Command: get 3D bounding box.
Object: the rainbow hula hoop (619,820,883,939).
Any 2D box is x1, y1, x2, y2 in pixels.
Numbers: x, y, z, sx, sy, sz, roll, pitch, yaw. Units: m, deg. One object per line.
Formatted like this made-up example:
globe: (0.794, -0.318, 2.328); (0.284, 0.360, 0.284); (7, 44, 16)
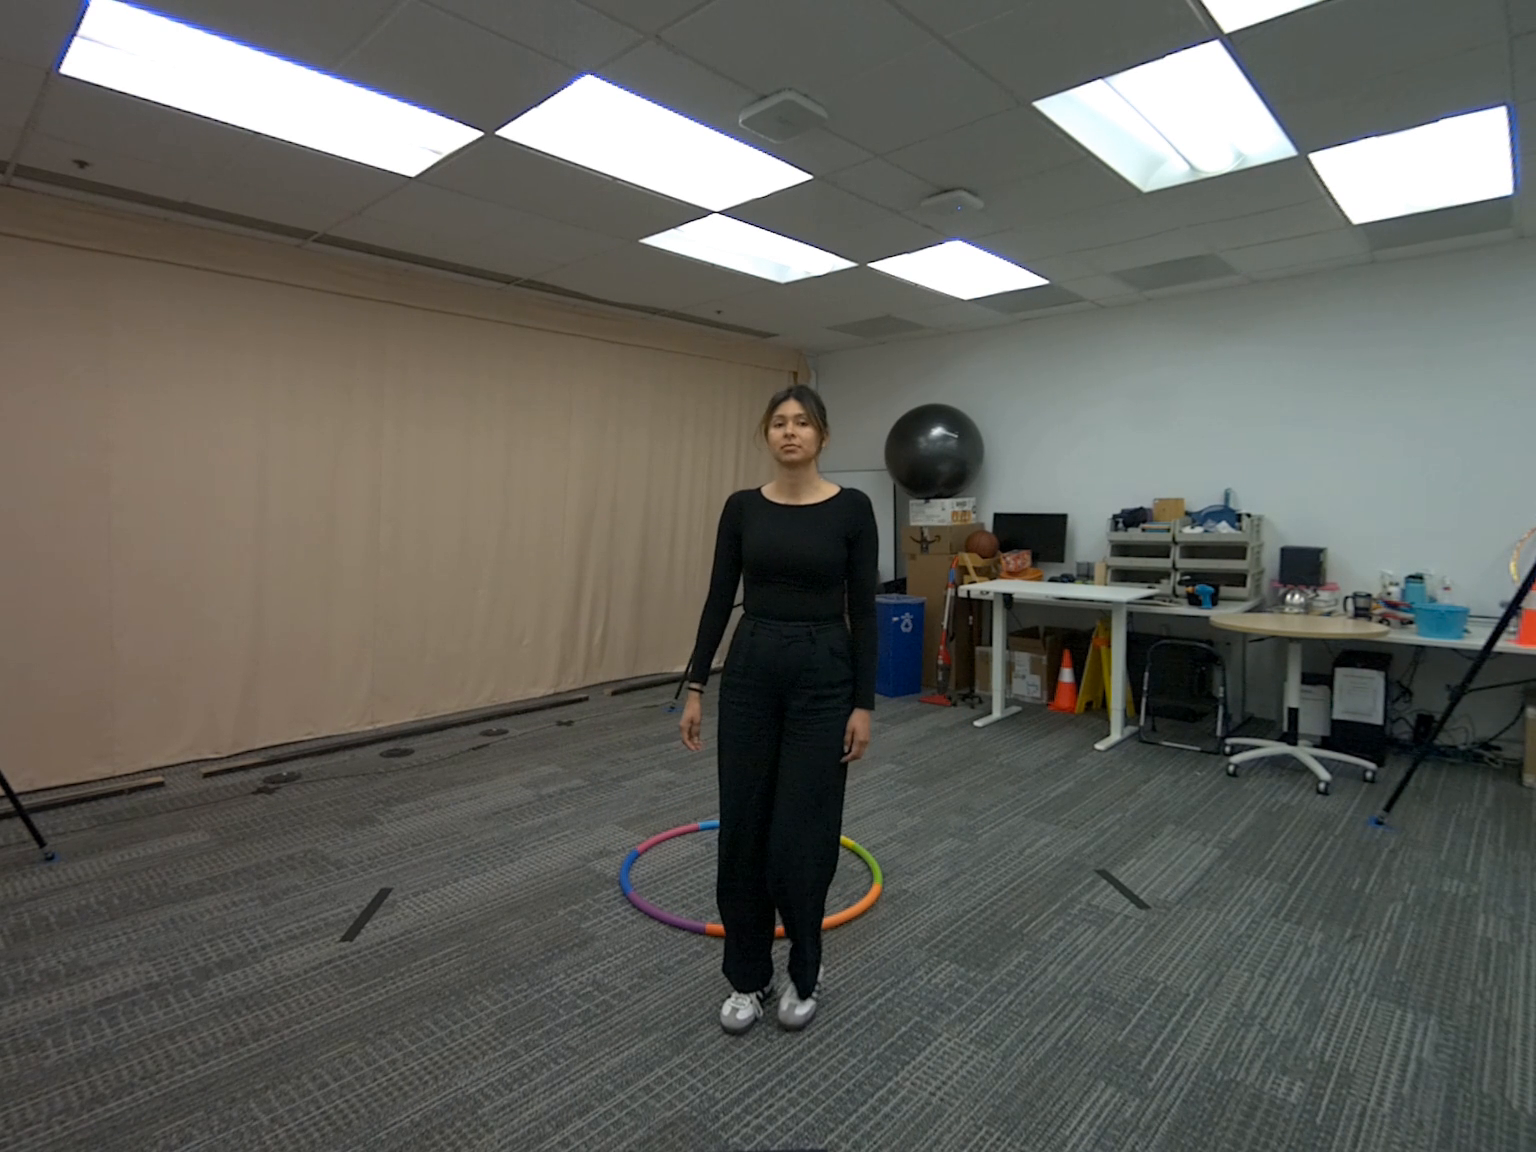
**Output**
rainbow hula hoop: (-0.064, 1.097, 3.185); (0.978, 0.035, 0.982); (-1, 5, -2)
